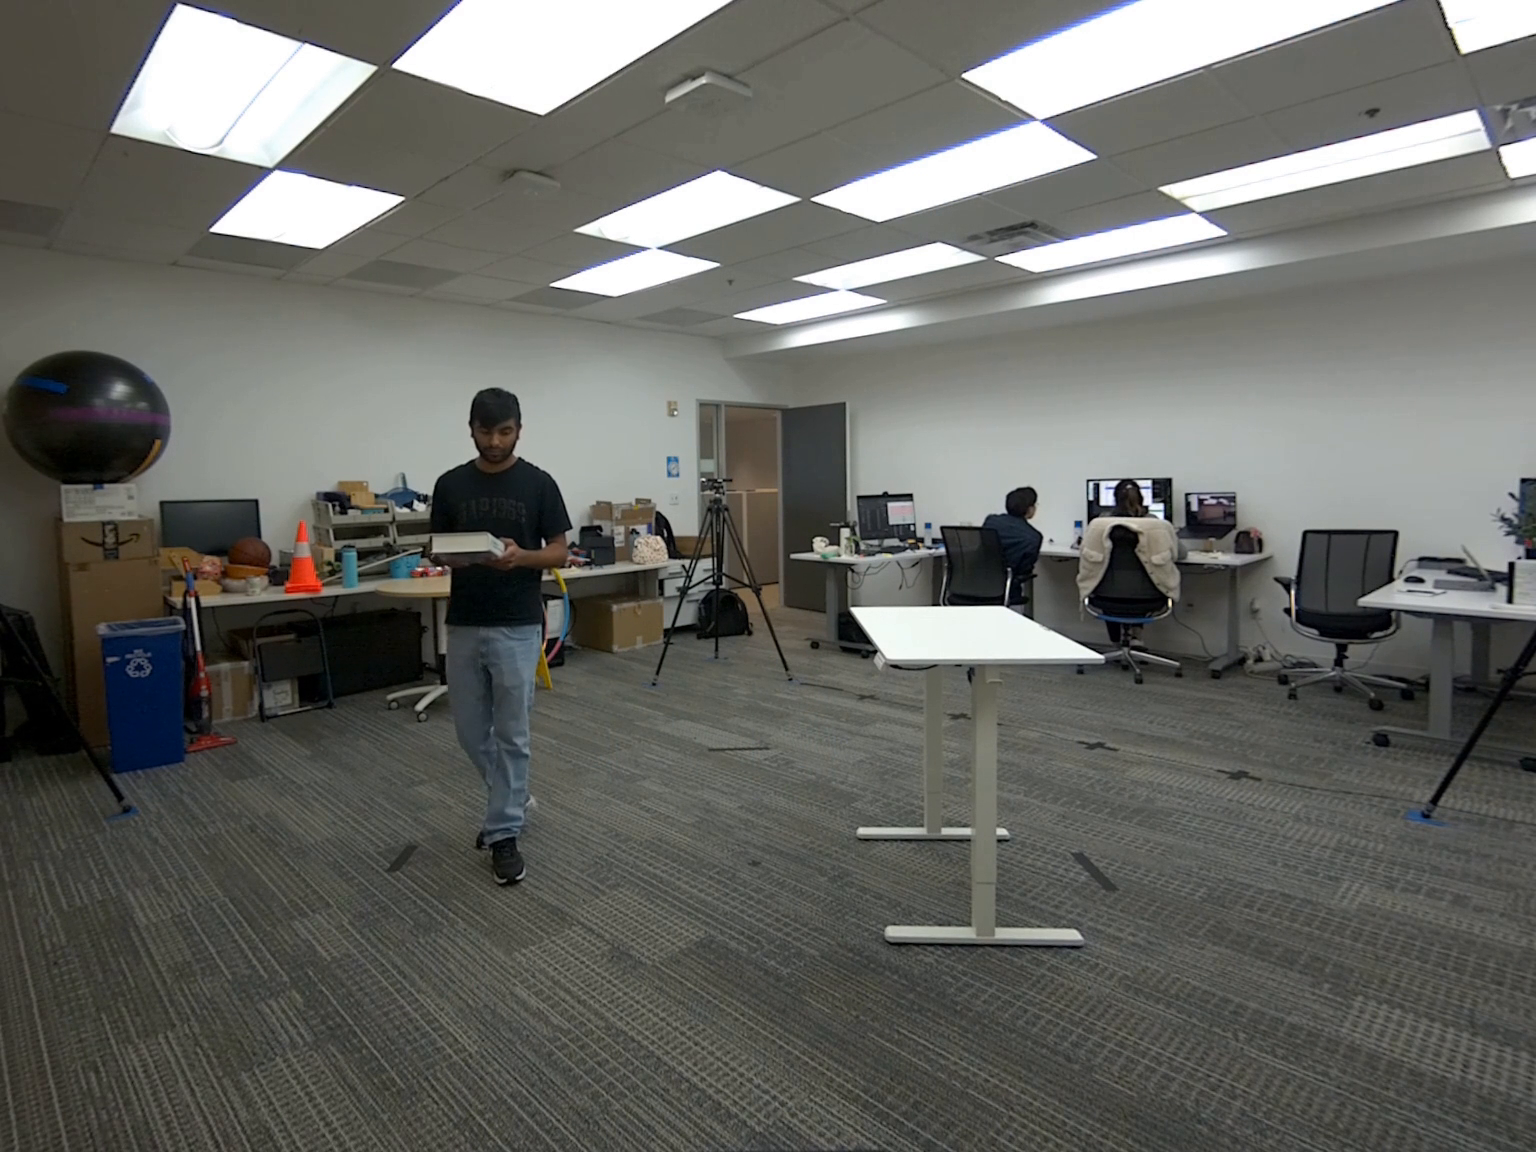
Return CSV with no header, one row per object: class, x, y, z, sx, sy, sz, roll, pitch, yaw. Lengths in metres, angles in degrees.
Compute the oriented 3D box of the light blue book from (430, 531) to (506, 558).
light blue book,-0.986,-0.087,2.827,0.191,0.059,0.259,-2,-7,-2
